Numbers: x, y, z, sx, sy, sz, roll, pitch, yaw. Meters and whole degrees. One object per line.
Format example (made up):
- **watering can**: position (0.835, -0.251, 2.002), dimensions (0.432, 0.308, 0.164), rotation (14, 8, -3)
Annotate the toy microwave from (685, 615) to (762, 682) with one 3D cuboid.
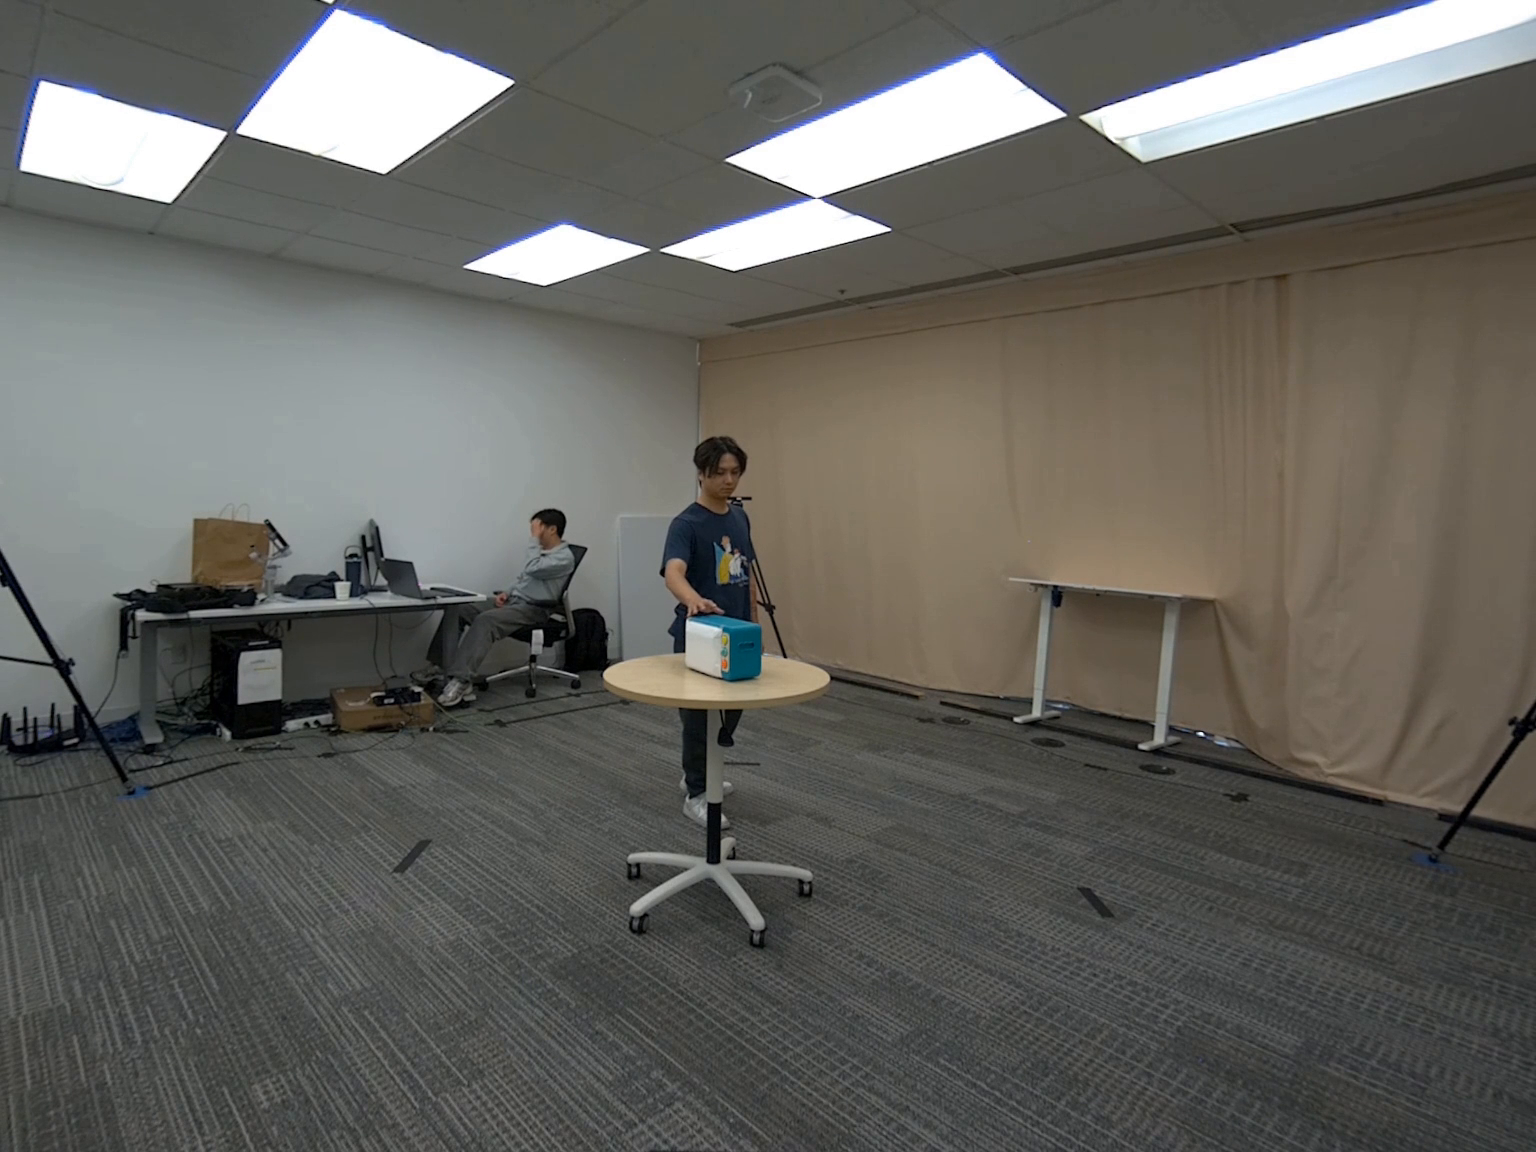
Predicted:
- **toy microwave**: position (-0.166, 0.242, 2.845), dimensions (0.149, 0.183, 0.293), rotation (-2, 5, -35)
